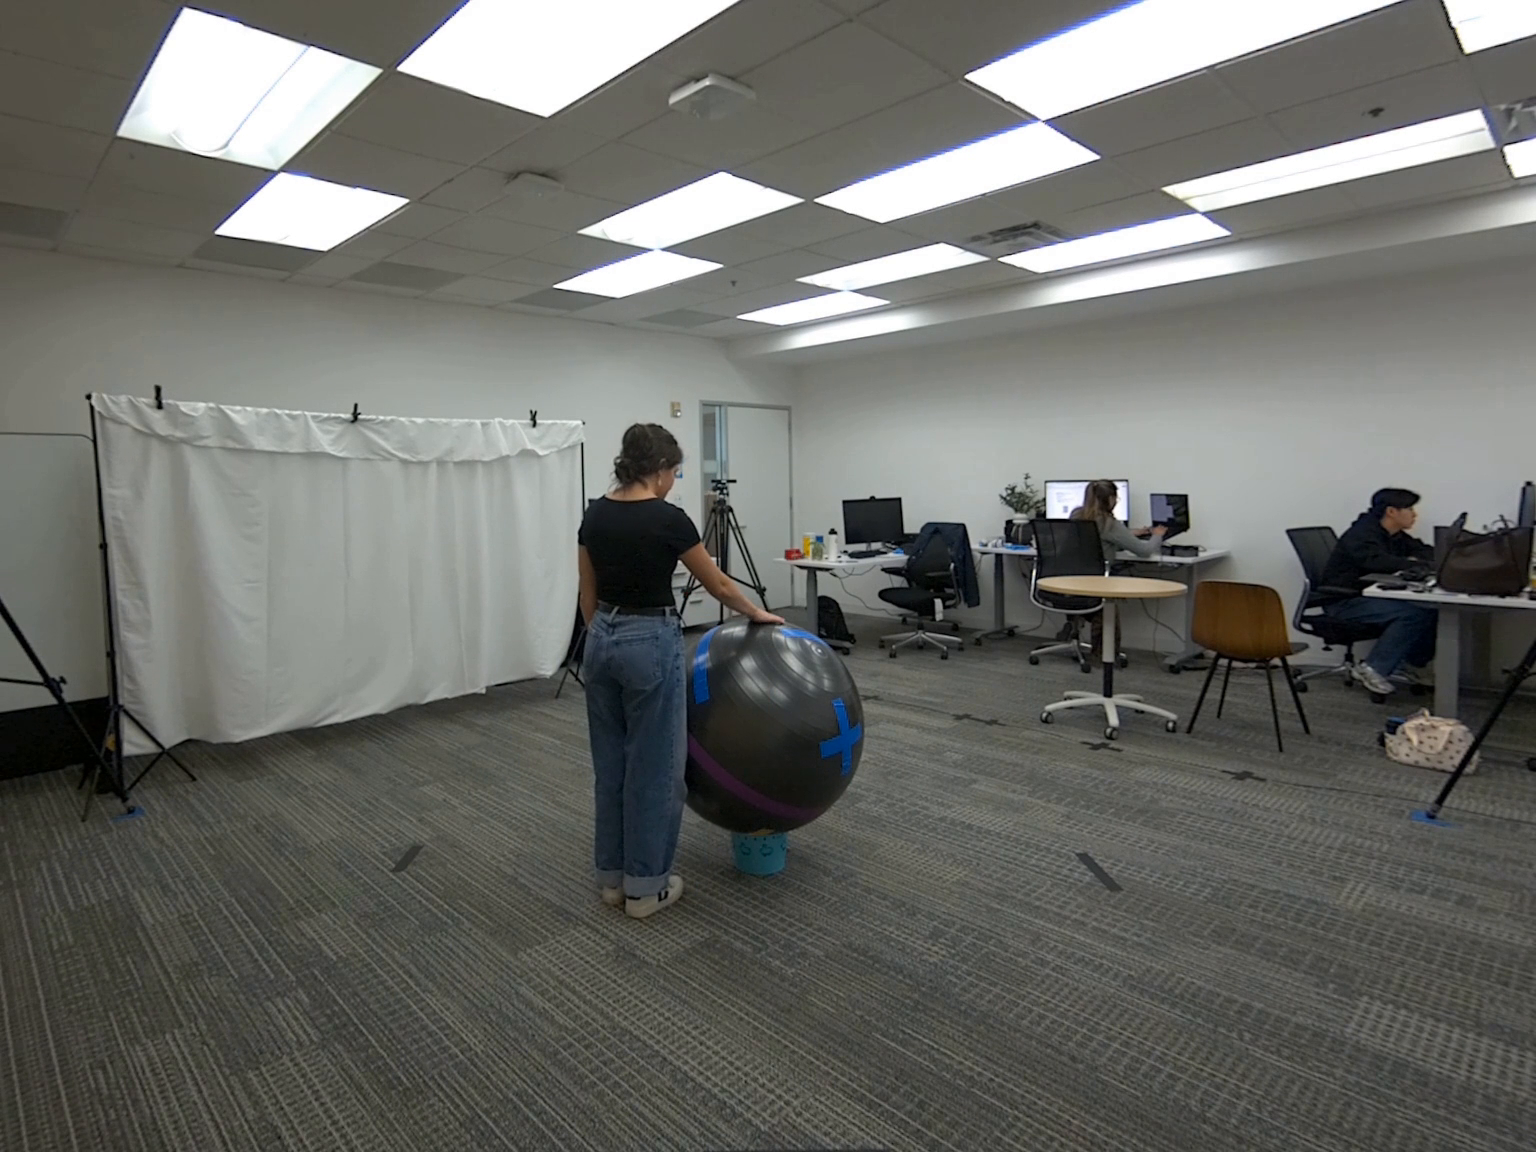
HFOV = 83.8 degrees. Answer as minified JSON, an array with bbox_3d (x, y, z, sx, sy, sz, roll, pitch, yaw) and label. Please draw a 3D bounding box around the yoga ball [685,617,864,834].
[{"bbox_3d":[-0.033,0.537,3.085,0.757,0.755,0.762,-1,5,-2],"label":"yoga ball"}]
